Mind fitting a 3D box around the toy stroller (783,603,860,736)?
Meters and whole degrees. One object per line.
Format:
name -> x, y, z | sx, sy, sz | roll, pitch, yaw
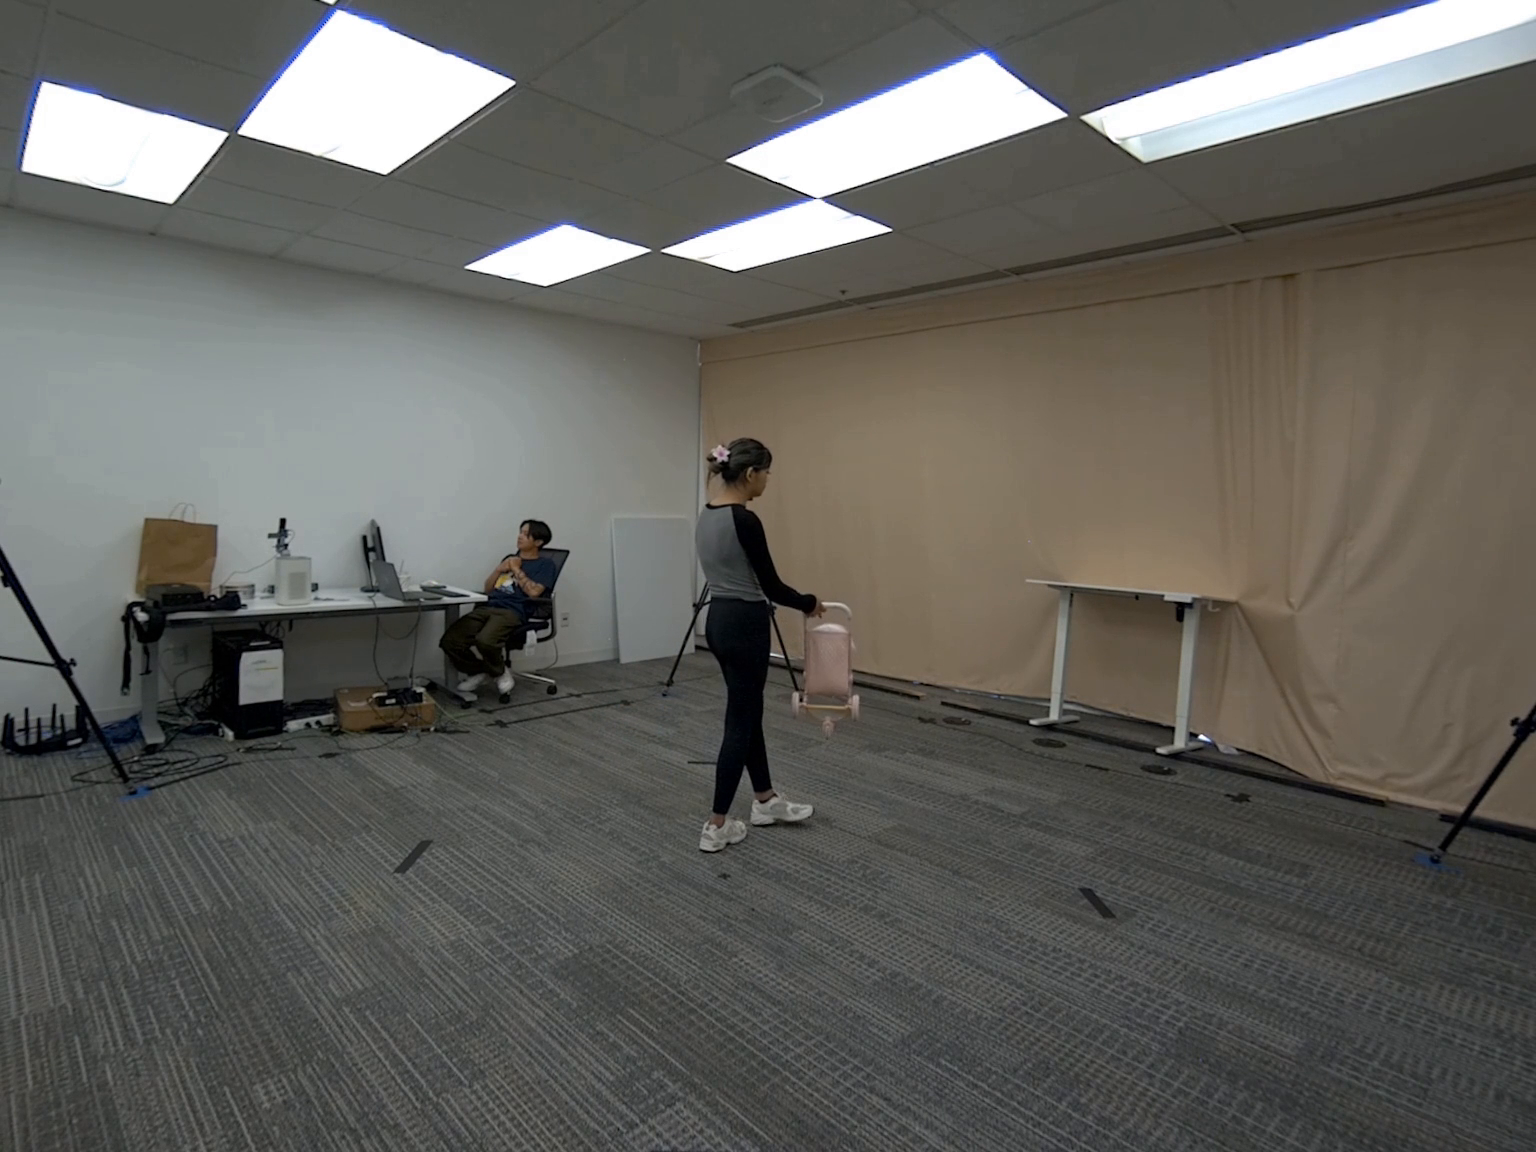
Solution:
toy stroller -> 0.250, 0.421, 3.623 | 0.284, 0.541, 0.334 | 0, -18, 11
